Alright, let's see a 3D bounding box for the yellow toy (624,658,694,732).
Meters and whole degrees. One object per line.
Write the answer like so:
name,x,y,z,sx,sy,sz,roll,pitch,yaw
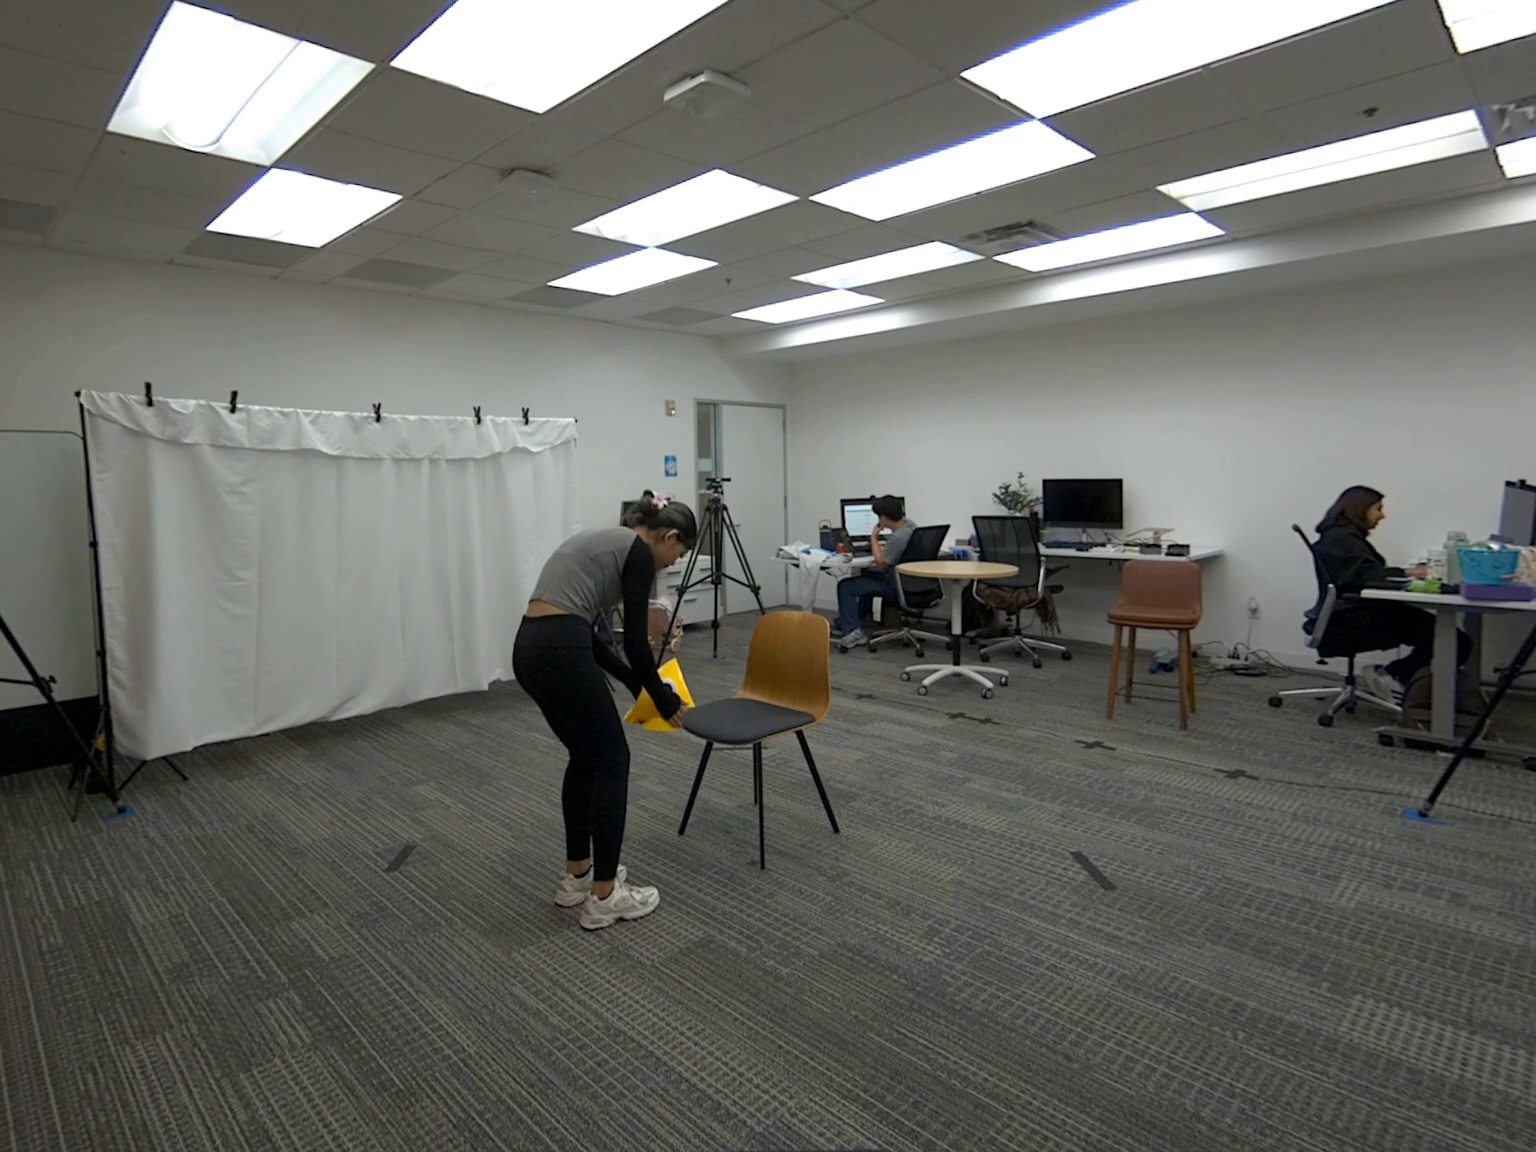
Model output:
yellow toy,-0.381,0.400,2.966,0.187,0.231,0.211,5,-1,-42
